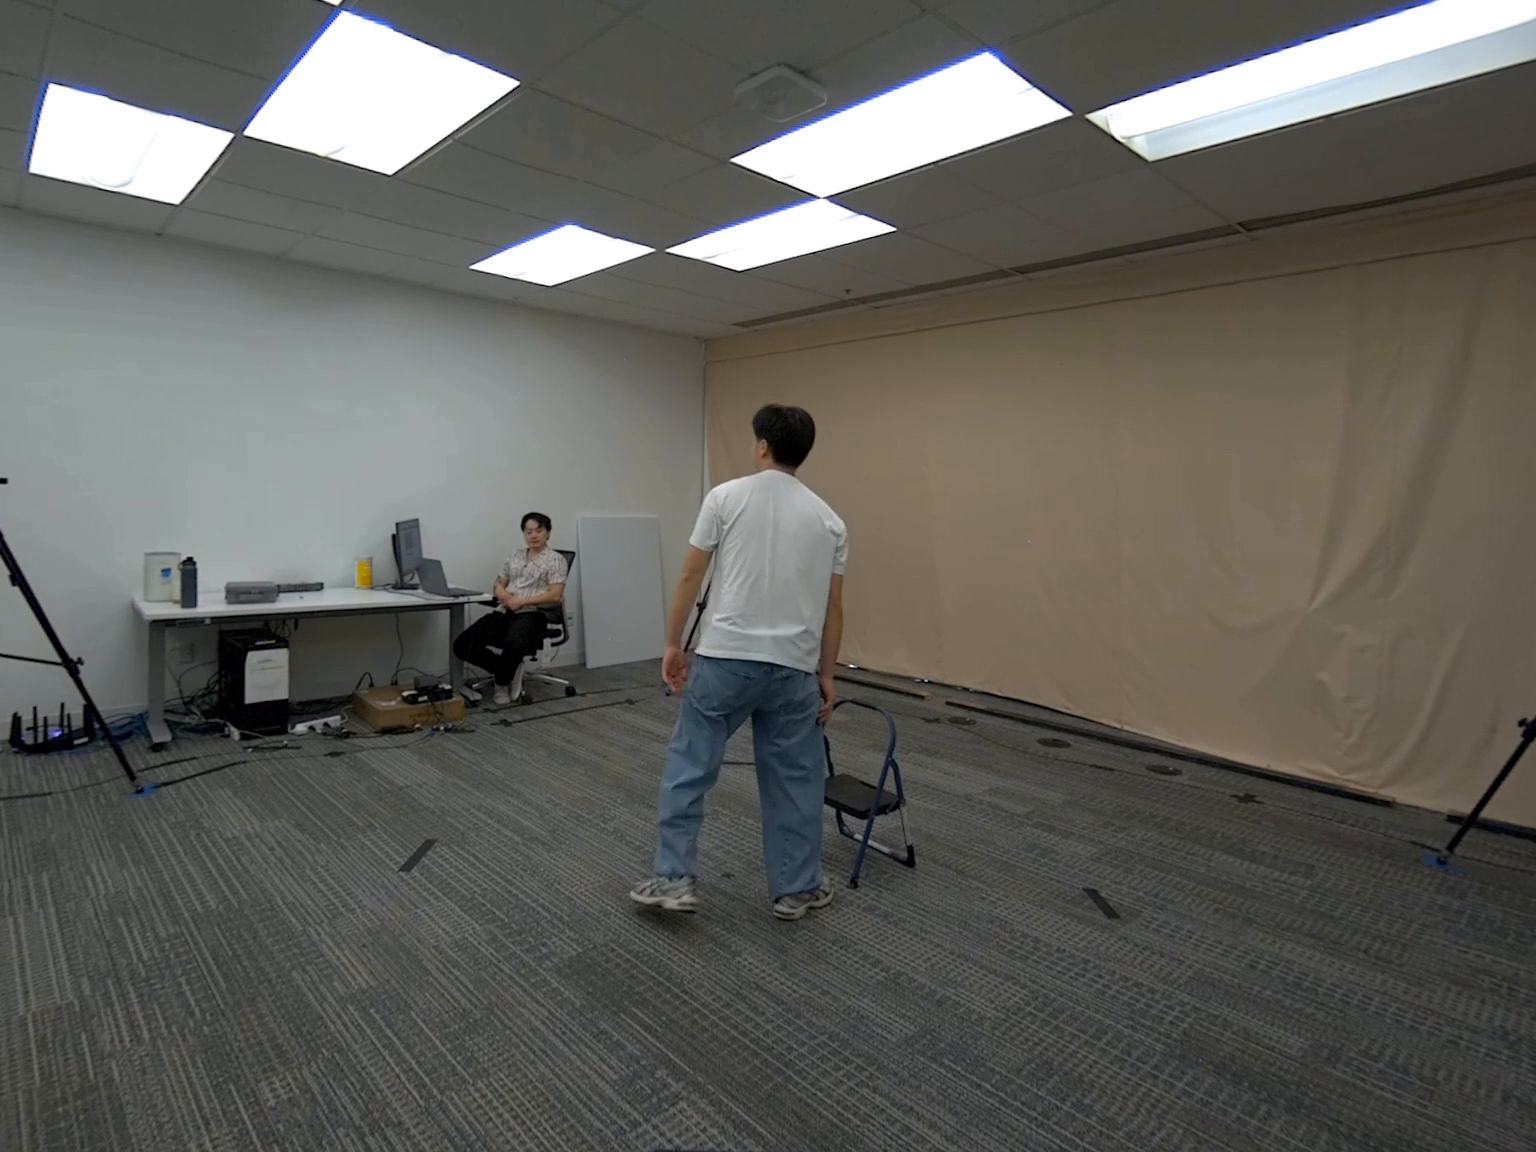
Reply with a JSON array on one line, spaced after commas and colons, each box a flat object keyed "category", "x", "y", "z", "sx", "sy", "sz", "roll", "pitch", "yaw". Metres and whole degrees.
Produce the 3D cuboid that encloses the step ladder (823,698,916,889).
[{"category": "step ladder", "x": 0.310, "y": 0.798, "z": 3.273, "sx": 0.341, "sy": 0.605, "sz": 0.441, "roll": 0, "pitch": 4, "yaw": -37}]
